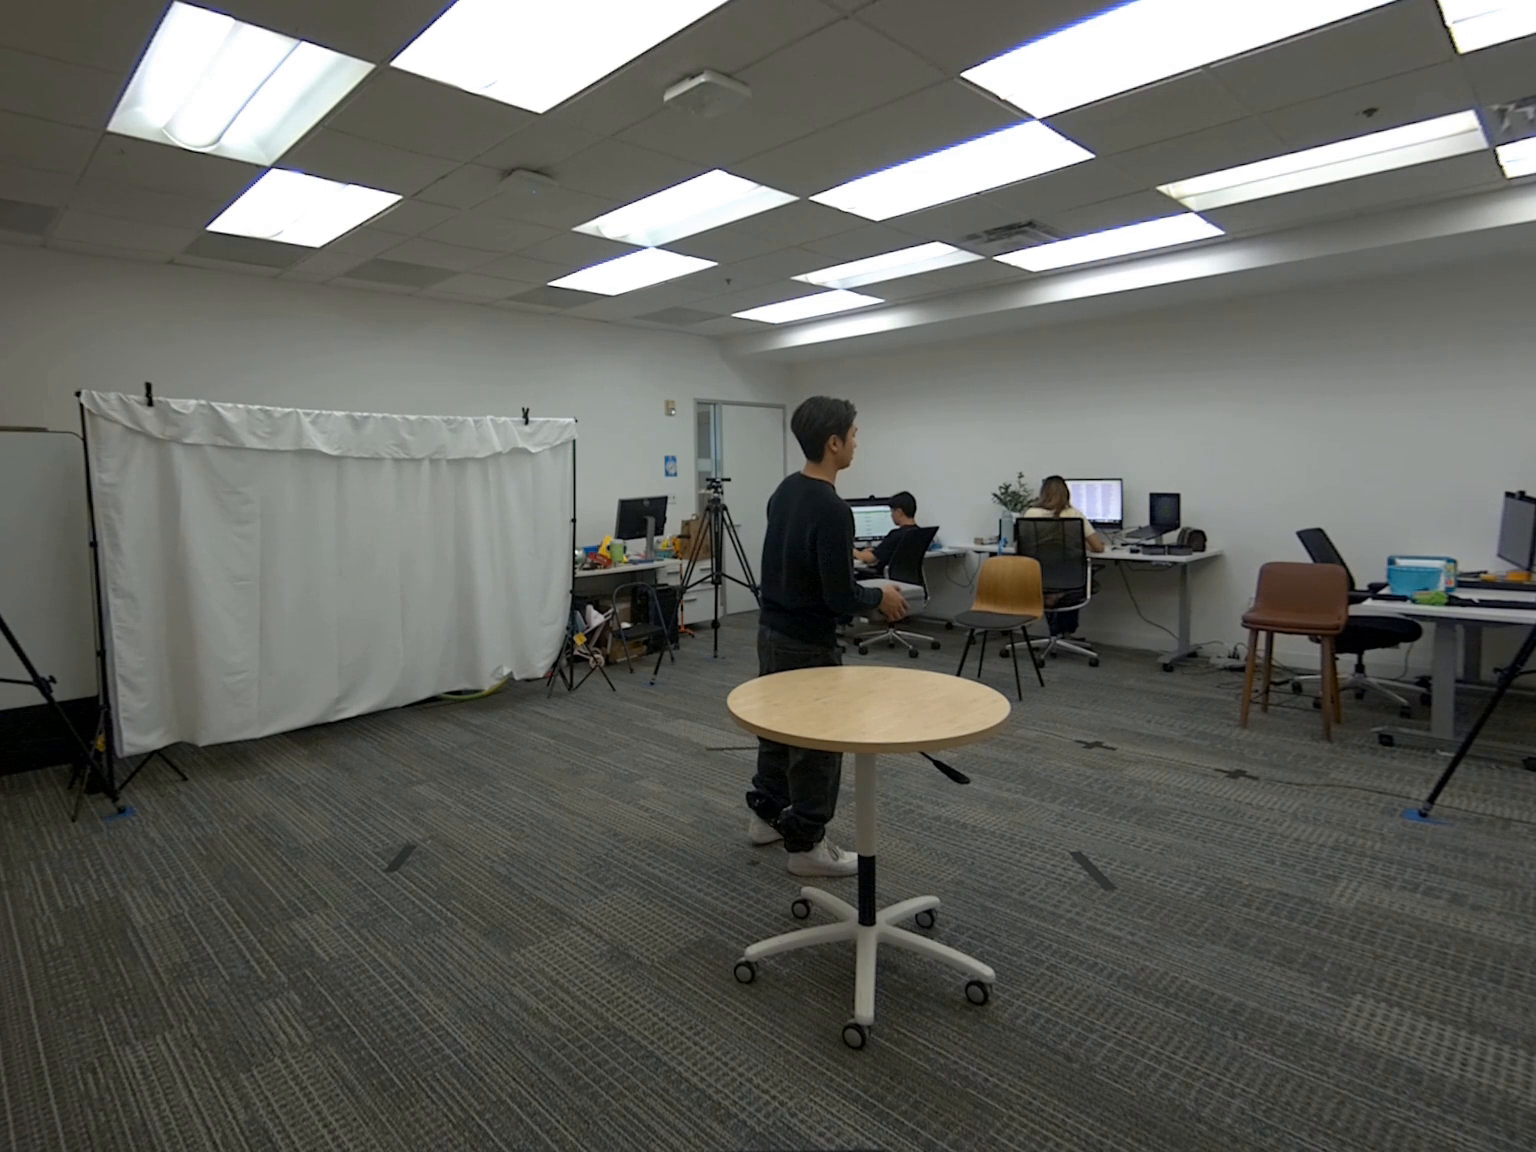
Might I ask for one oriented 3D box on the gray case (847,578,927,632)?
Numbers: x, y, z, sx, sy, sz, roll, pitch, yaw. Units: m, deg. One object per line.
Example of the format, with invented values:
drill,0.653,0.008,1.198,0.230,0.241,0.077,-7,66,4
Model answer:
gray case,0.410,0.082,3.158,0.255,0.103,0.265,-6,12,-28
